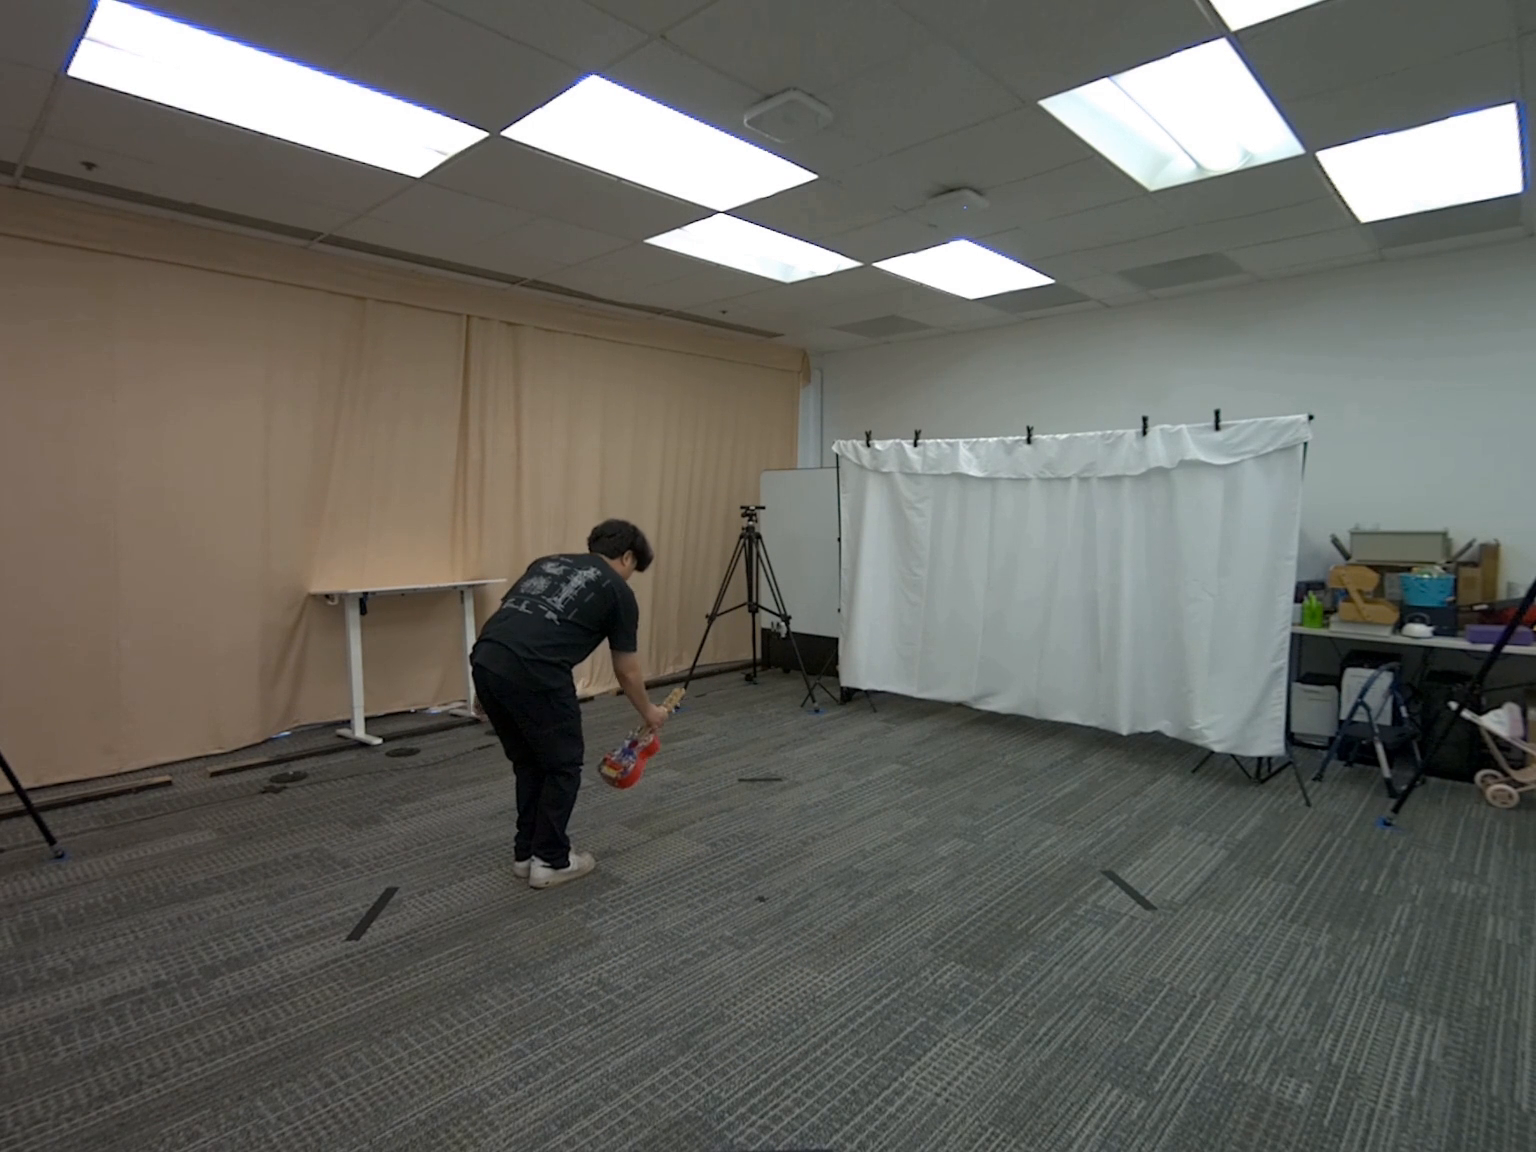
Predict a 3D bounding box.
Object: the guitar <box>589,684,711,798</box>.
[{"bbox_3d":[-0.479,0.659,3.453,0.493,0.069,0.200,-44,35,-25],"label":"guitar"}]
